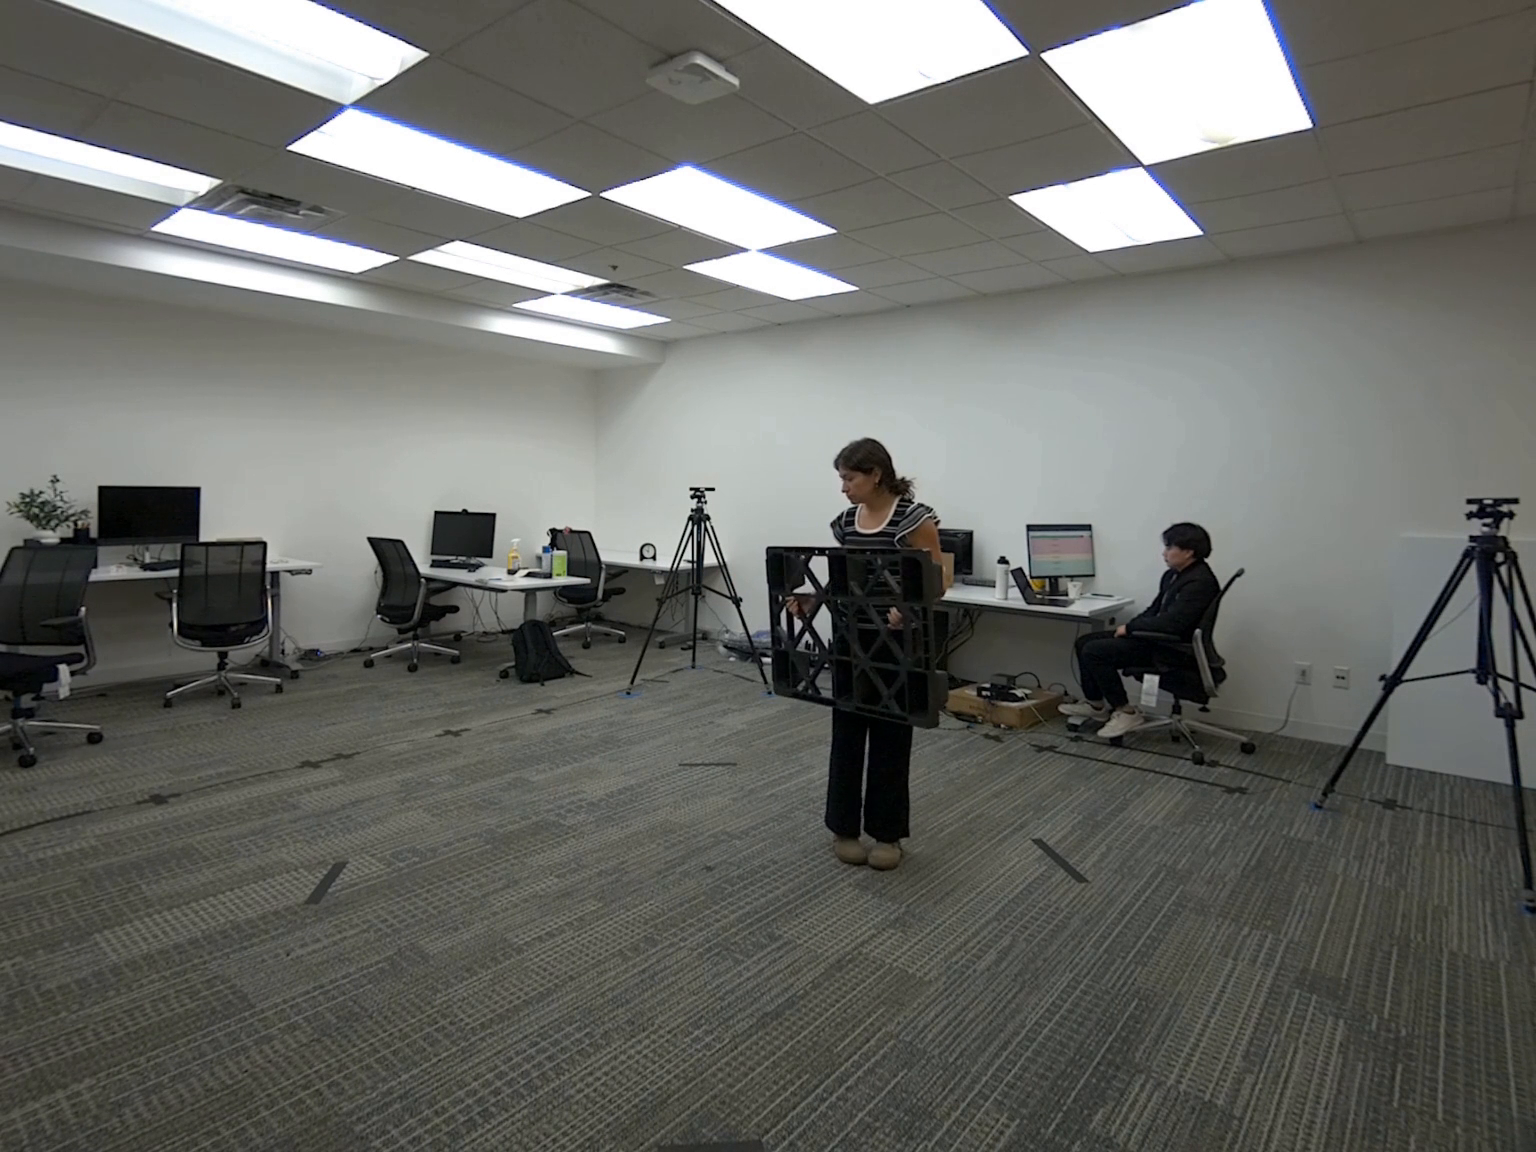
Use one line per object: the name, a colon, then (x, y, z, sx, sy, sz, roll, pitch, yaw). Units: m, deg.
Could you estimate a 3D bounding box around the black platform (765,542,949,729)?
black platform: (0.299, 0.187, 3.141, 0.139, 0.603, 0.831, -5, 4, -40)
